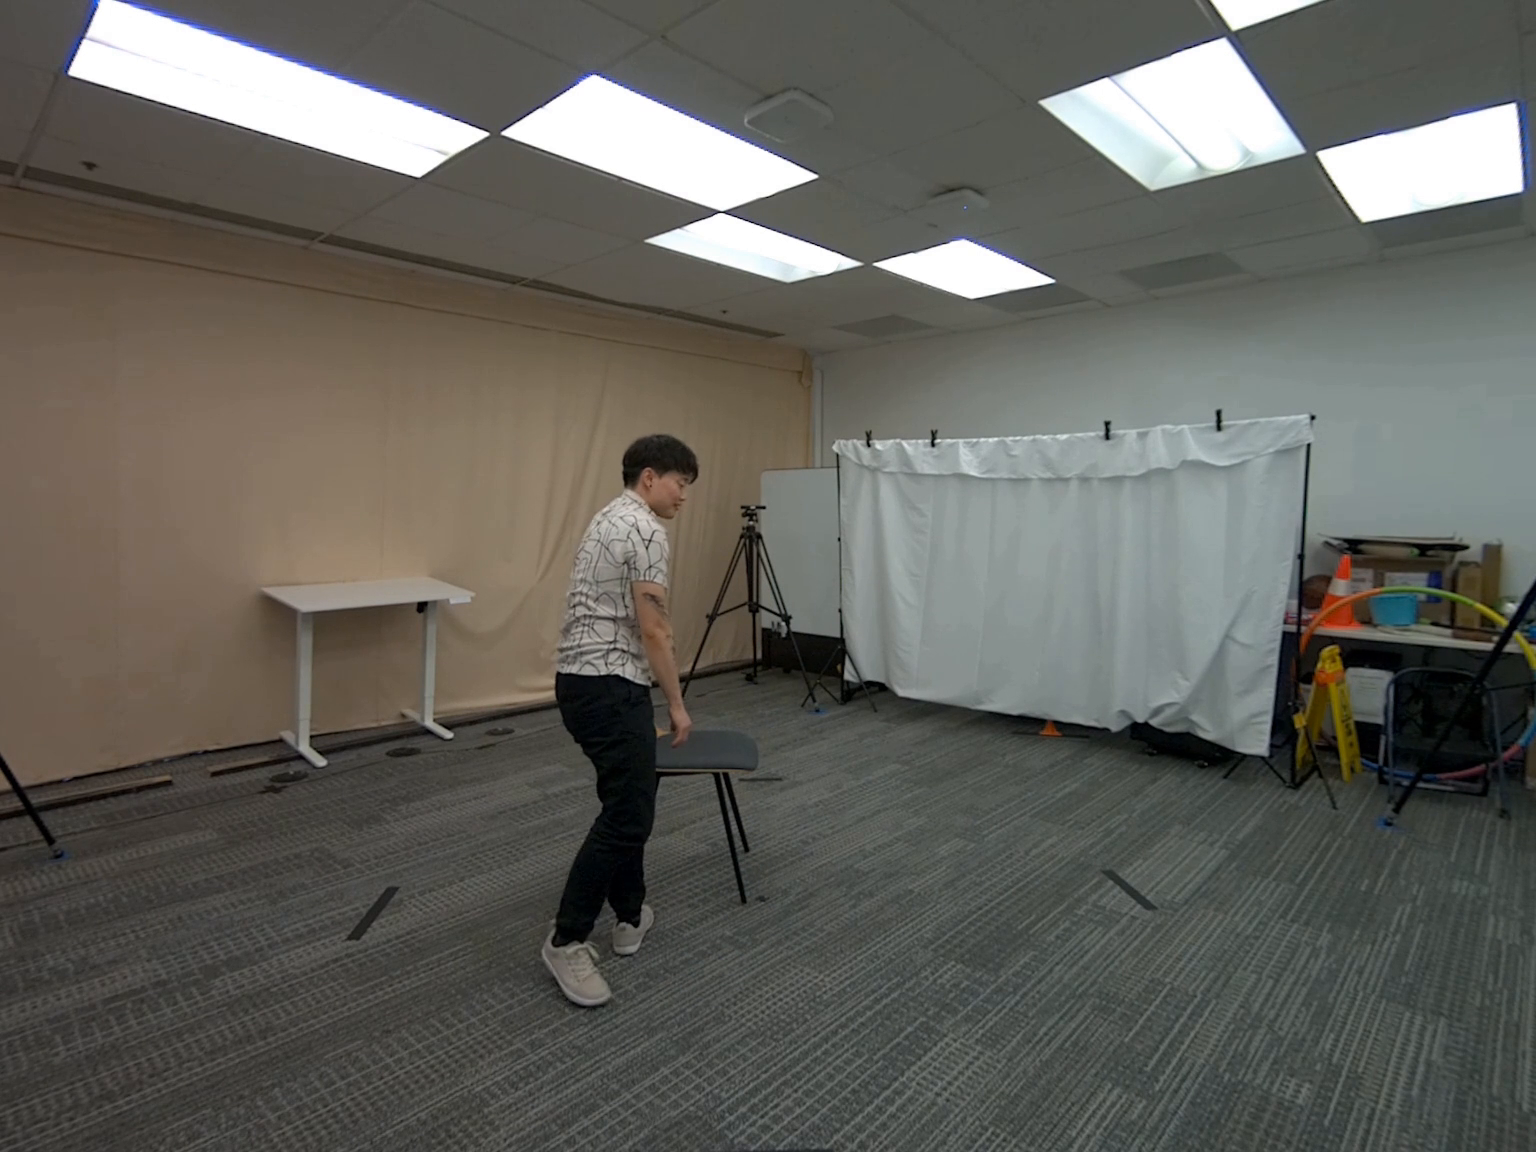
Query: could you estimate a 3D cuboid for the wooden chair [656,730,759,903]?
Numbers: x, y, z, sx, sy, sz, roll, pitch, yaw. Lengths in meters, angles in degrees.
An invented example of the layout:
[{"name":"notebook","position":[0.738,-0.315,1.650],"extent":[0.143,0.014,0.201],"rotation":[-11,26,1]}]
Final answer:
[{"name":"wooden chair","position":[-0.295,0.704,3.157],"extent":[0.525,0.876,0.477],"rotation":[-5,2,2]}]
